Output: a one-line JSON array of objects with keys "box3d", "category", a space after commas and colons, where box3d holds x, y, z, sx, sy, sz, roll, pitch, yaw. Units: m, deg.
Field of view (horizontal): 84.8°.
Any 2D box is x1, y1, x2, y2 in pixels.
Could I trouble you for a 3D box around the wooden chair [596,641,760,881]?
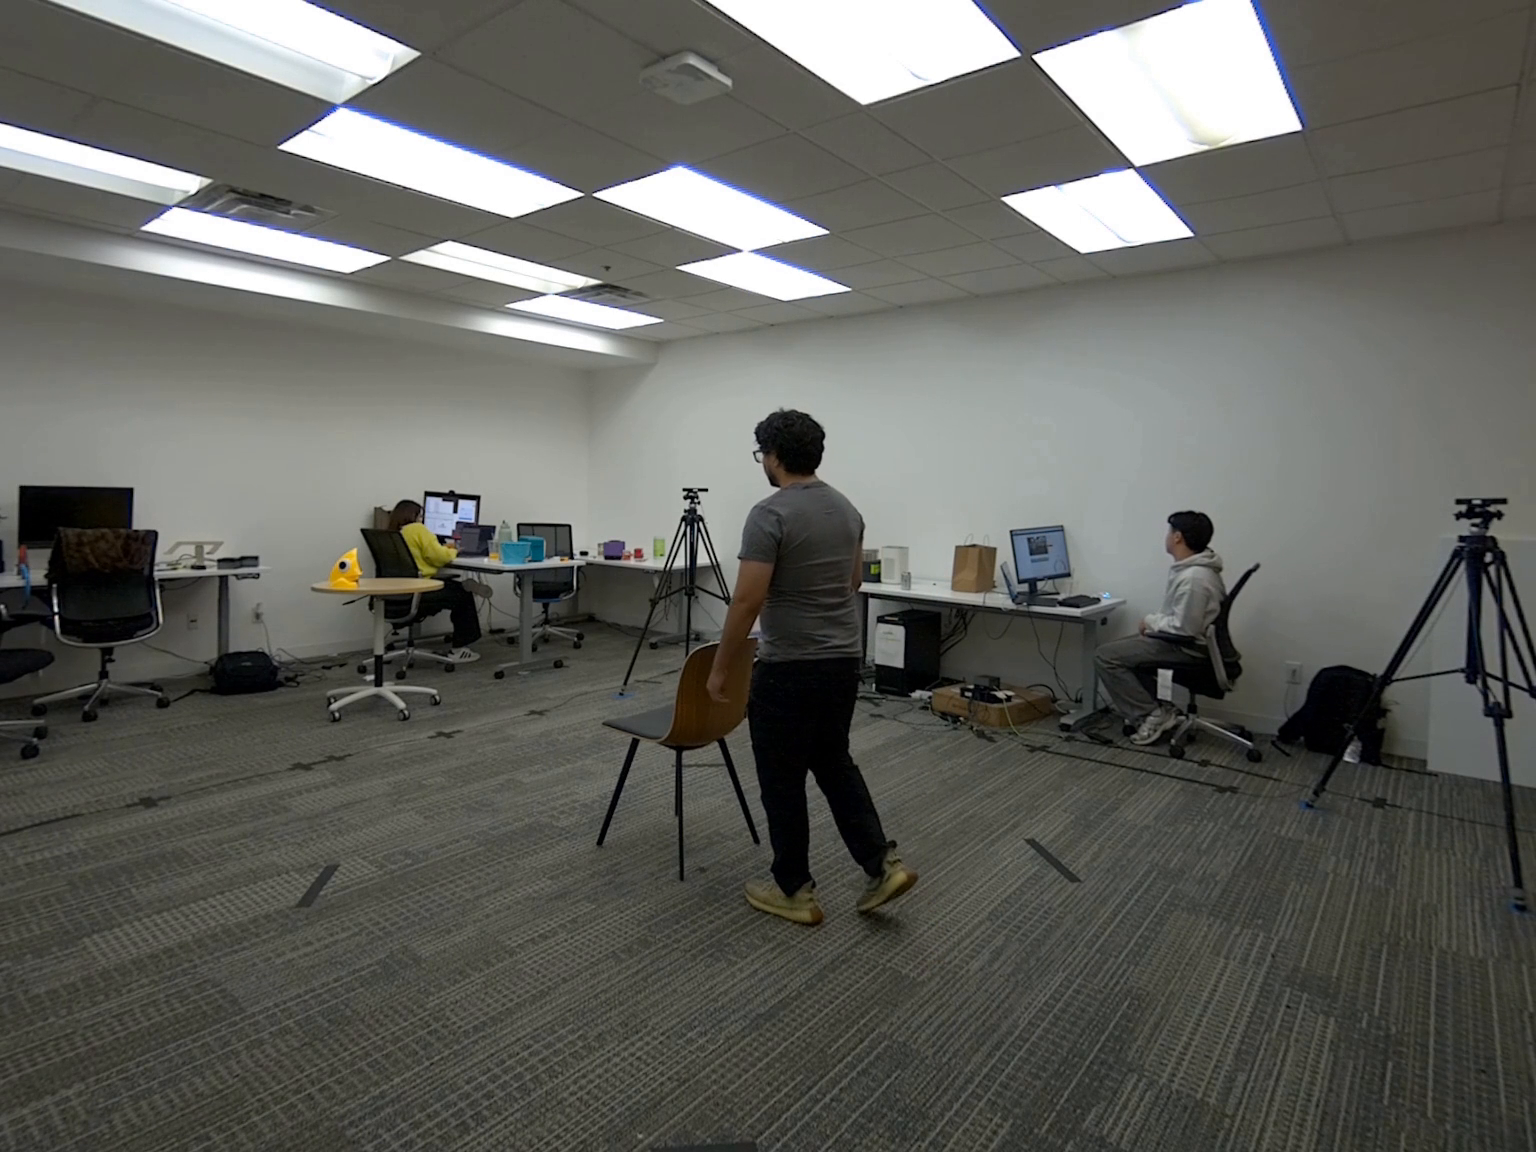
[{"box3d": [-0.360, 0.621, 3.301, 0.542, 0.873, 0.464, 9, 8, 38], "category": "wooden chair"}]
